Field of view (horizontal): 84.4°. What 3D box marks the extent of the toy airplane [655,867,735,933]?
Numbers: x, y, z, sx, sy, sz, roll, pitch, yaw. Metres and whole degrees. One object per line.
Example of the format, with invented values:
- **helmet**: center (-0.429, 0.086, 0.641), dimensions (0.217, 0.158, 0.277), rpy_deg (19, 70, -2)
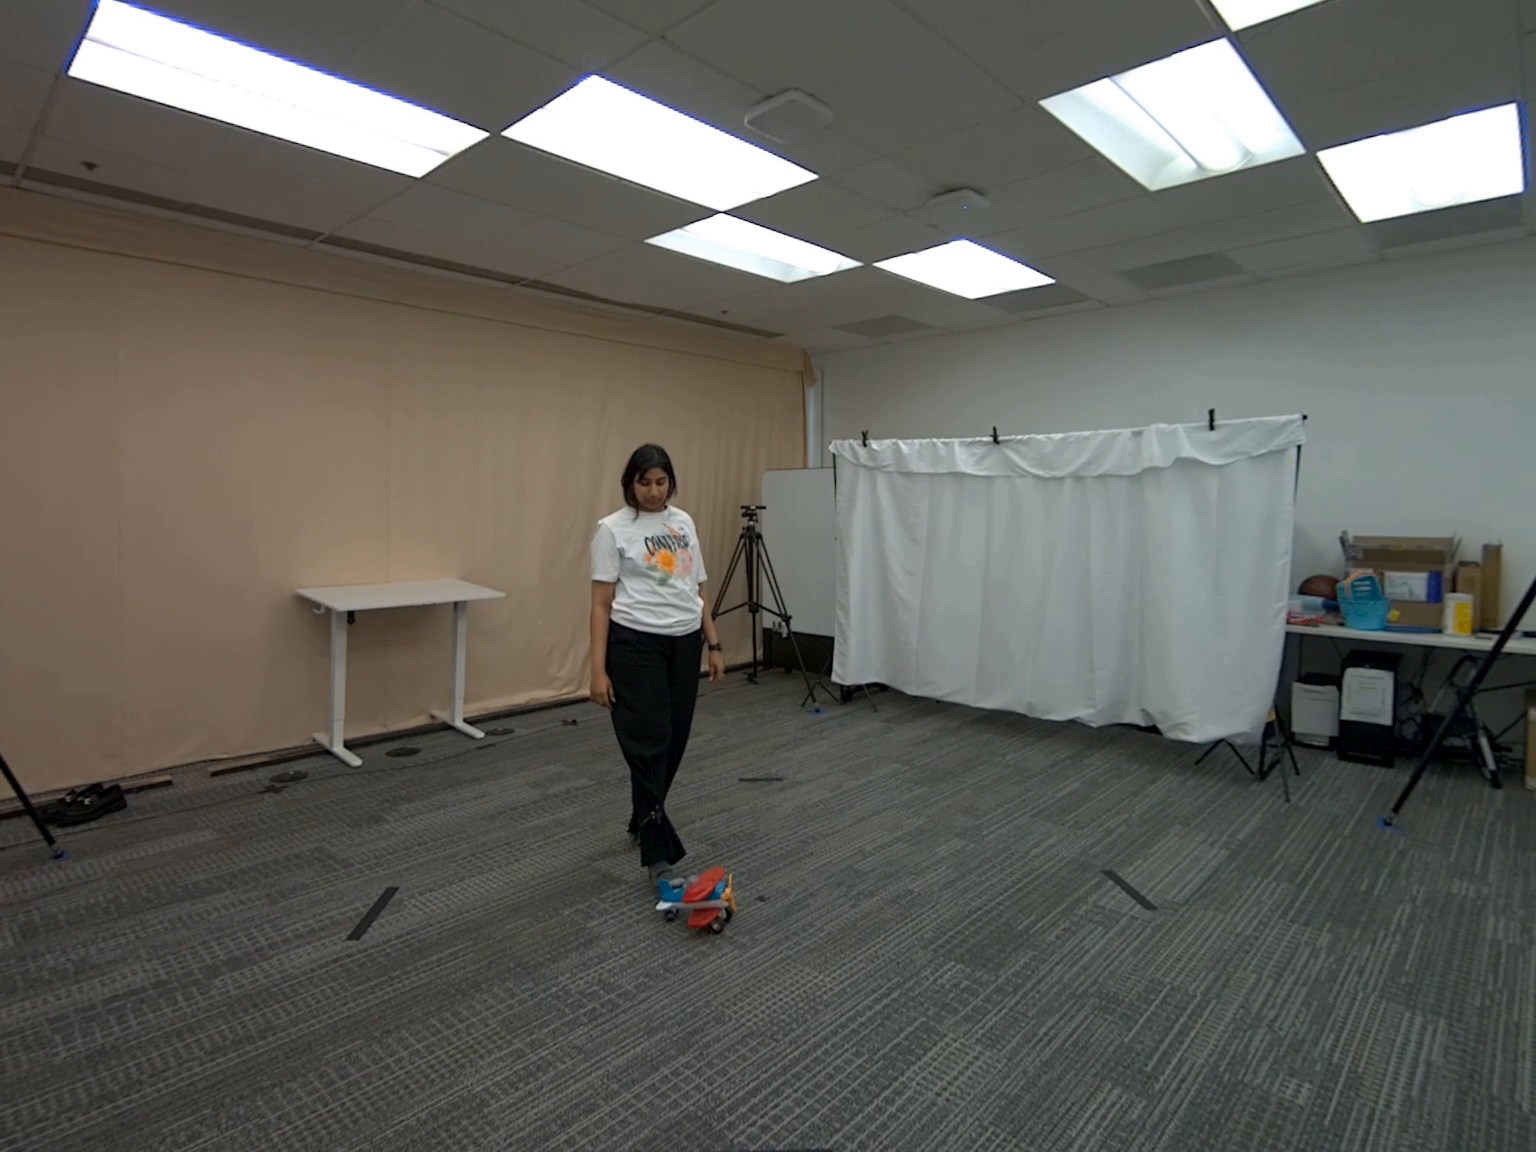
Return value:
- **toy airplane**: center (-0.244, 1.083, 2.788), dimensions (0.257, 0.156, 0.254), rpy_deg (0, 4, -9)
